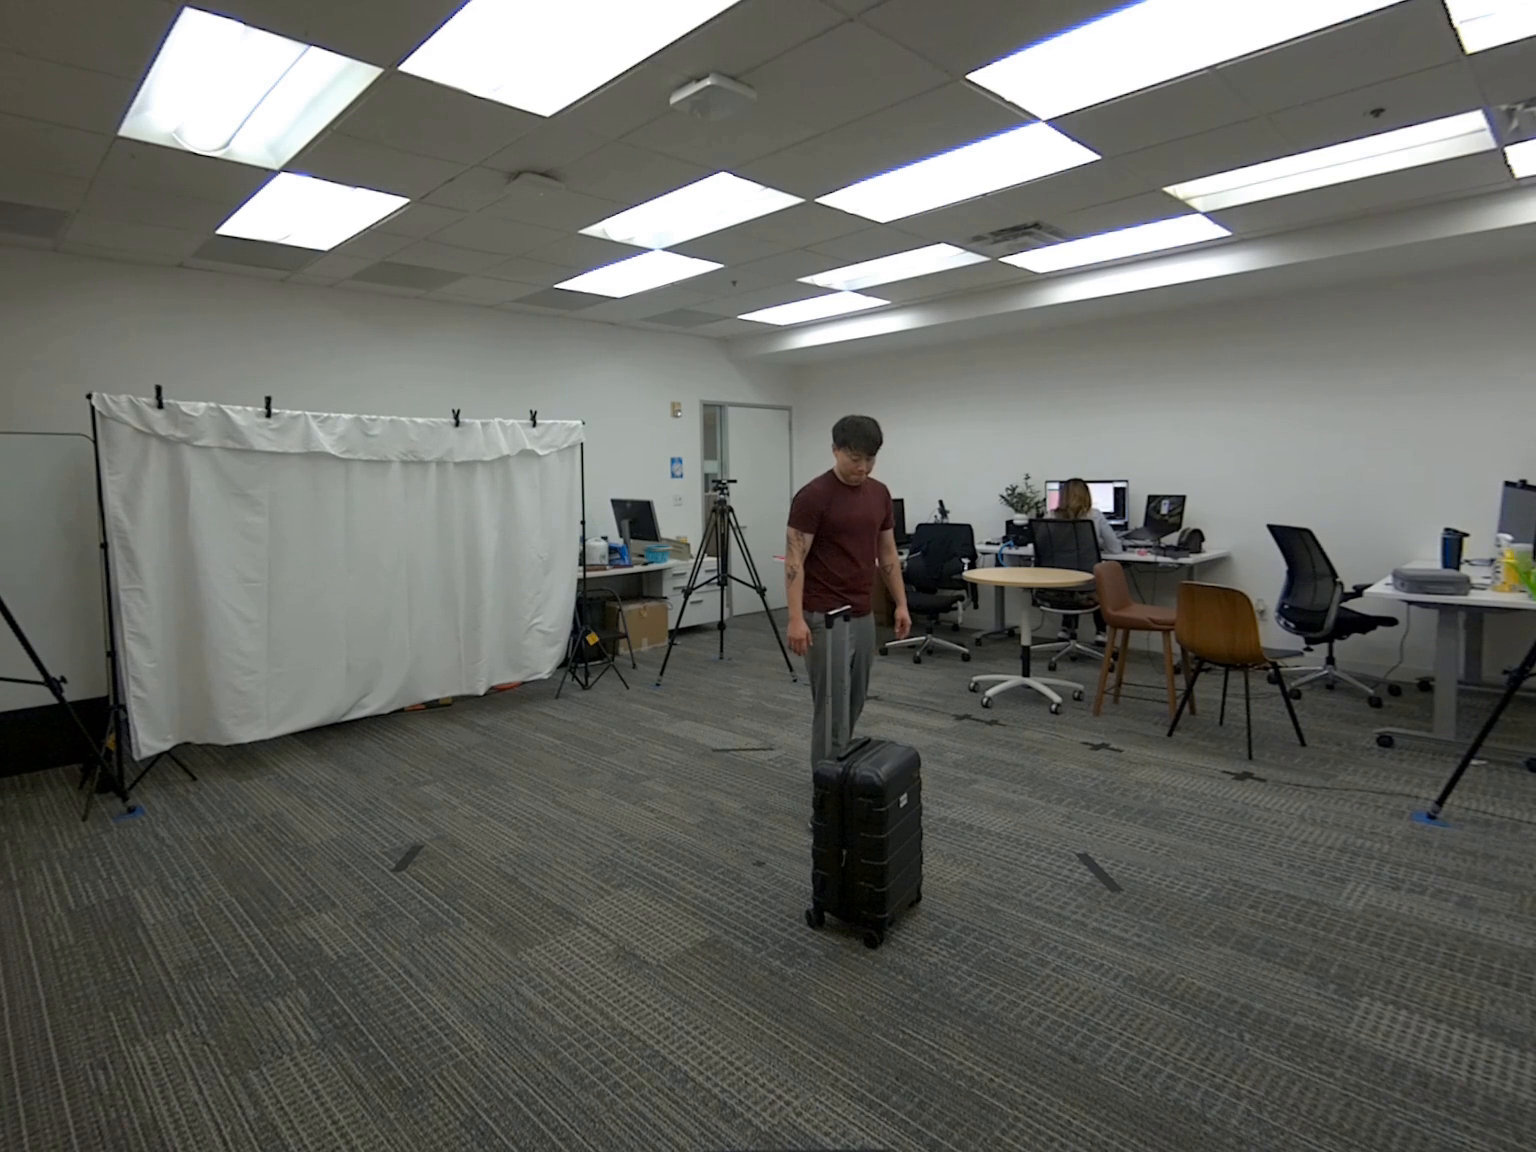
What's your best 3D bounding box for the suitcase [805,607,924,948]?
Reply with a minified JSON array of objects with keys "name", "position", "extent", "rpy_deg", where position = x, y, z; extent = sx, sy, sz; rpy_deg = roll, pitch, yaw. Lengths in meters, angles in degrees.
[{"name":"suitcase","position":[0.328,0.614,2.683],"extent":[0.264,0.973,0.375],"rpy_deg":[5,7,31]}]
